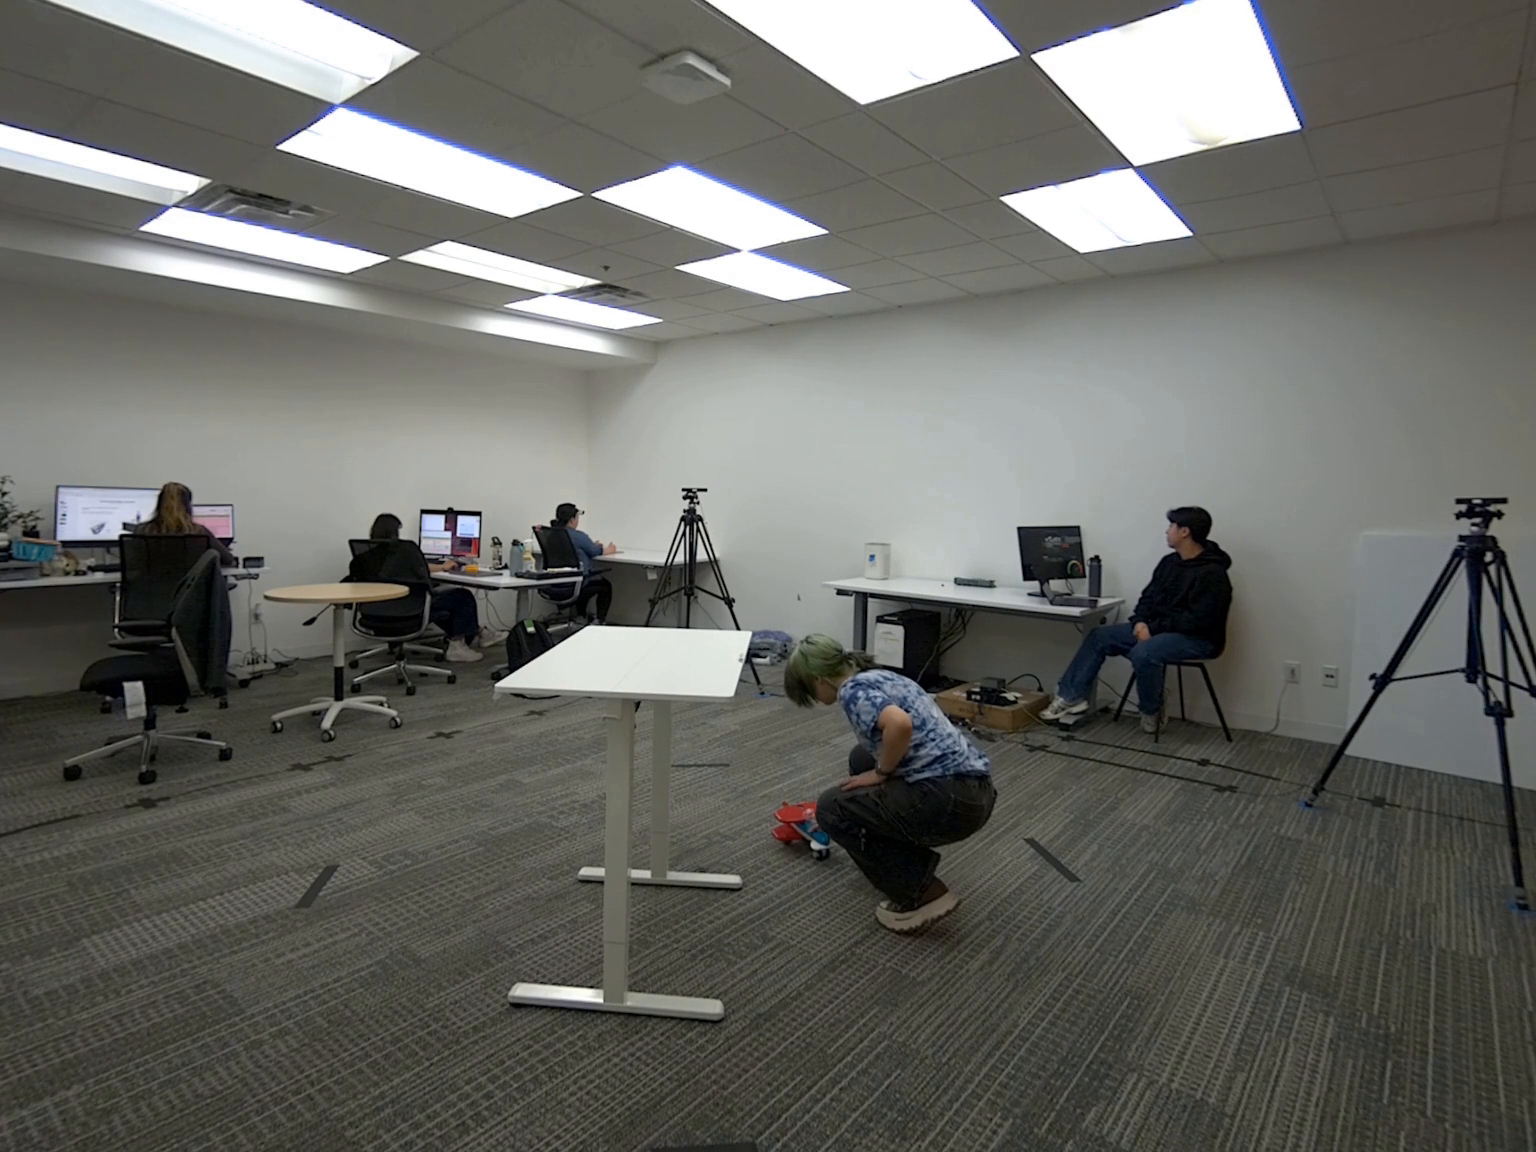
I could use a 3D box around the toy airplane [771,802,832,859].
[{"bbox_3d":[0.152,0.976,3.315,0.266,0.156,0.244,2,3,29],"label":"toy airplane"}]
